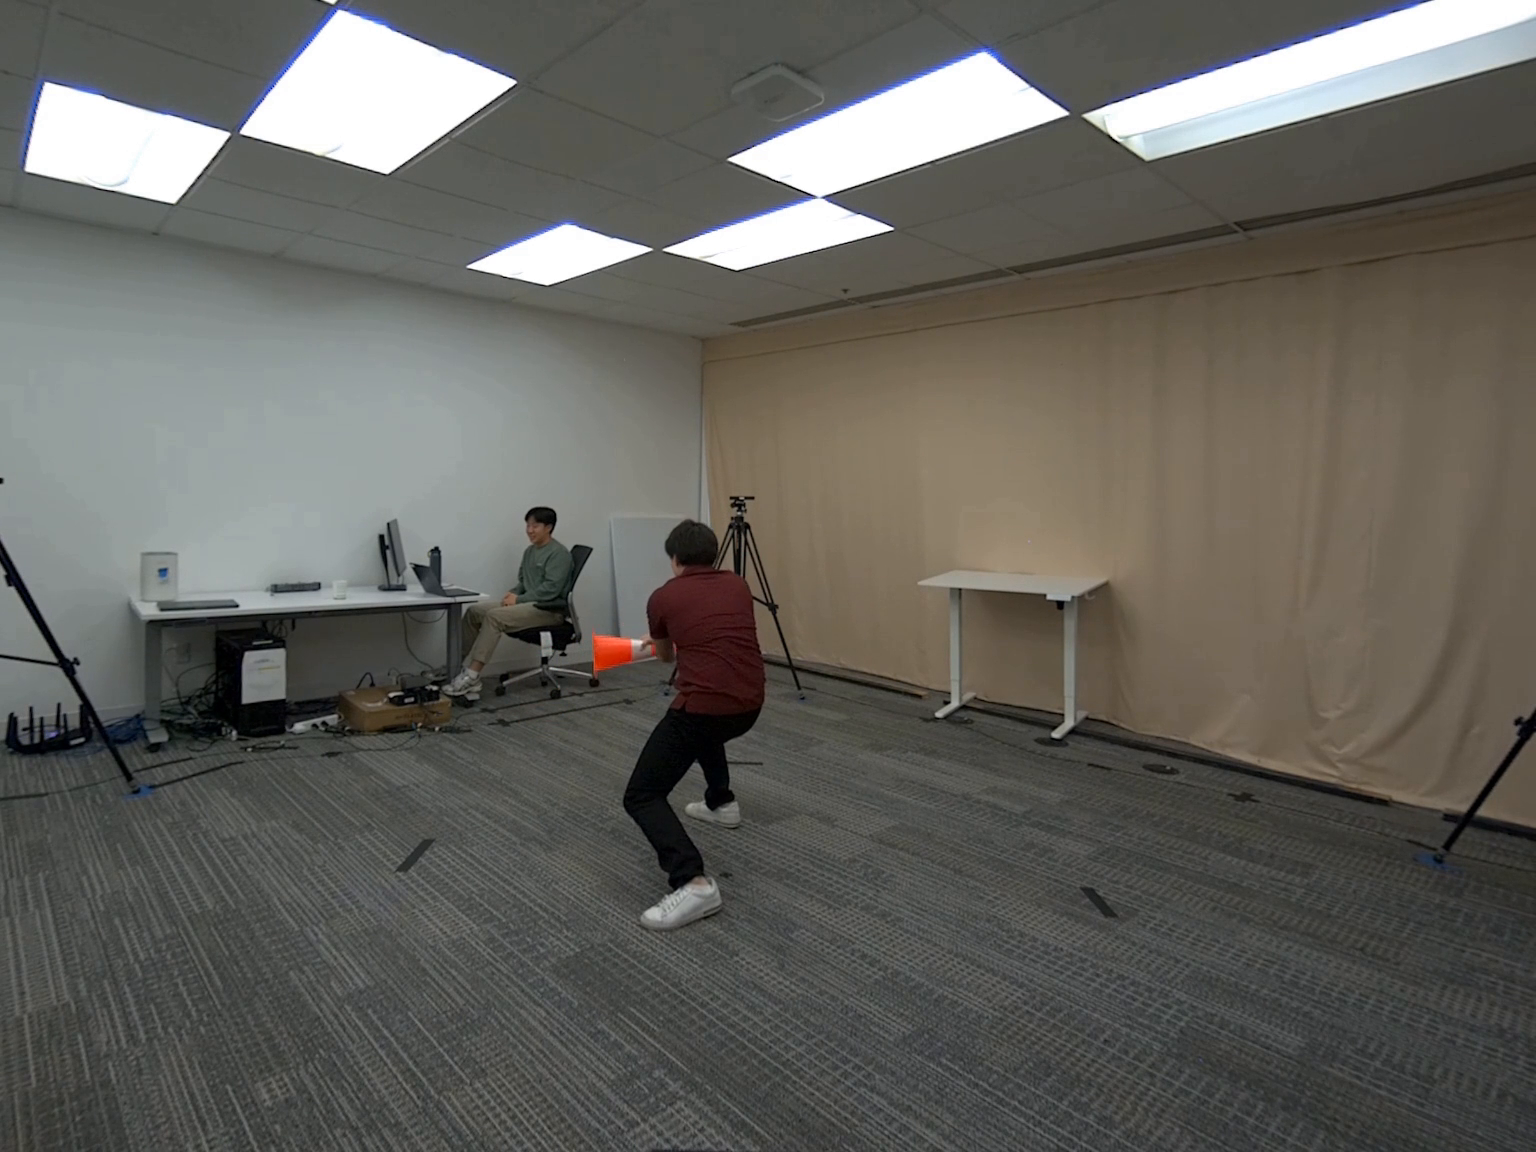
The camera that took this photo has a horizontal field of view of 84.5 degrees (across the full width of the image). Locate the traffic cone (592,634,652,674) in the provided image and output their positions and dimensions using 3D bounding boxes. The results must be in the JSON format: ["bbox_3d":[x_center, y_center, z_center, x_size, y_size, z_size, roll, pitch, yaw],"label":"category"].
[{"bbox_3d":[-0.599,0.339,3.794,0.381,0.203,0.206,-2,0,-9],"label":"traffic cone"}]
